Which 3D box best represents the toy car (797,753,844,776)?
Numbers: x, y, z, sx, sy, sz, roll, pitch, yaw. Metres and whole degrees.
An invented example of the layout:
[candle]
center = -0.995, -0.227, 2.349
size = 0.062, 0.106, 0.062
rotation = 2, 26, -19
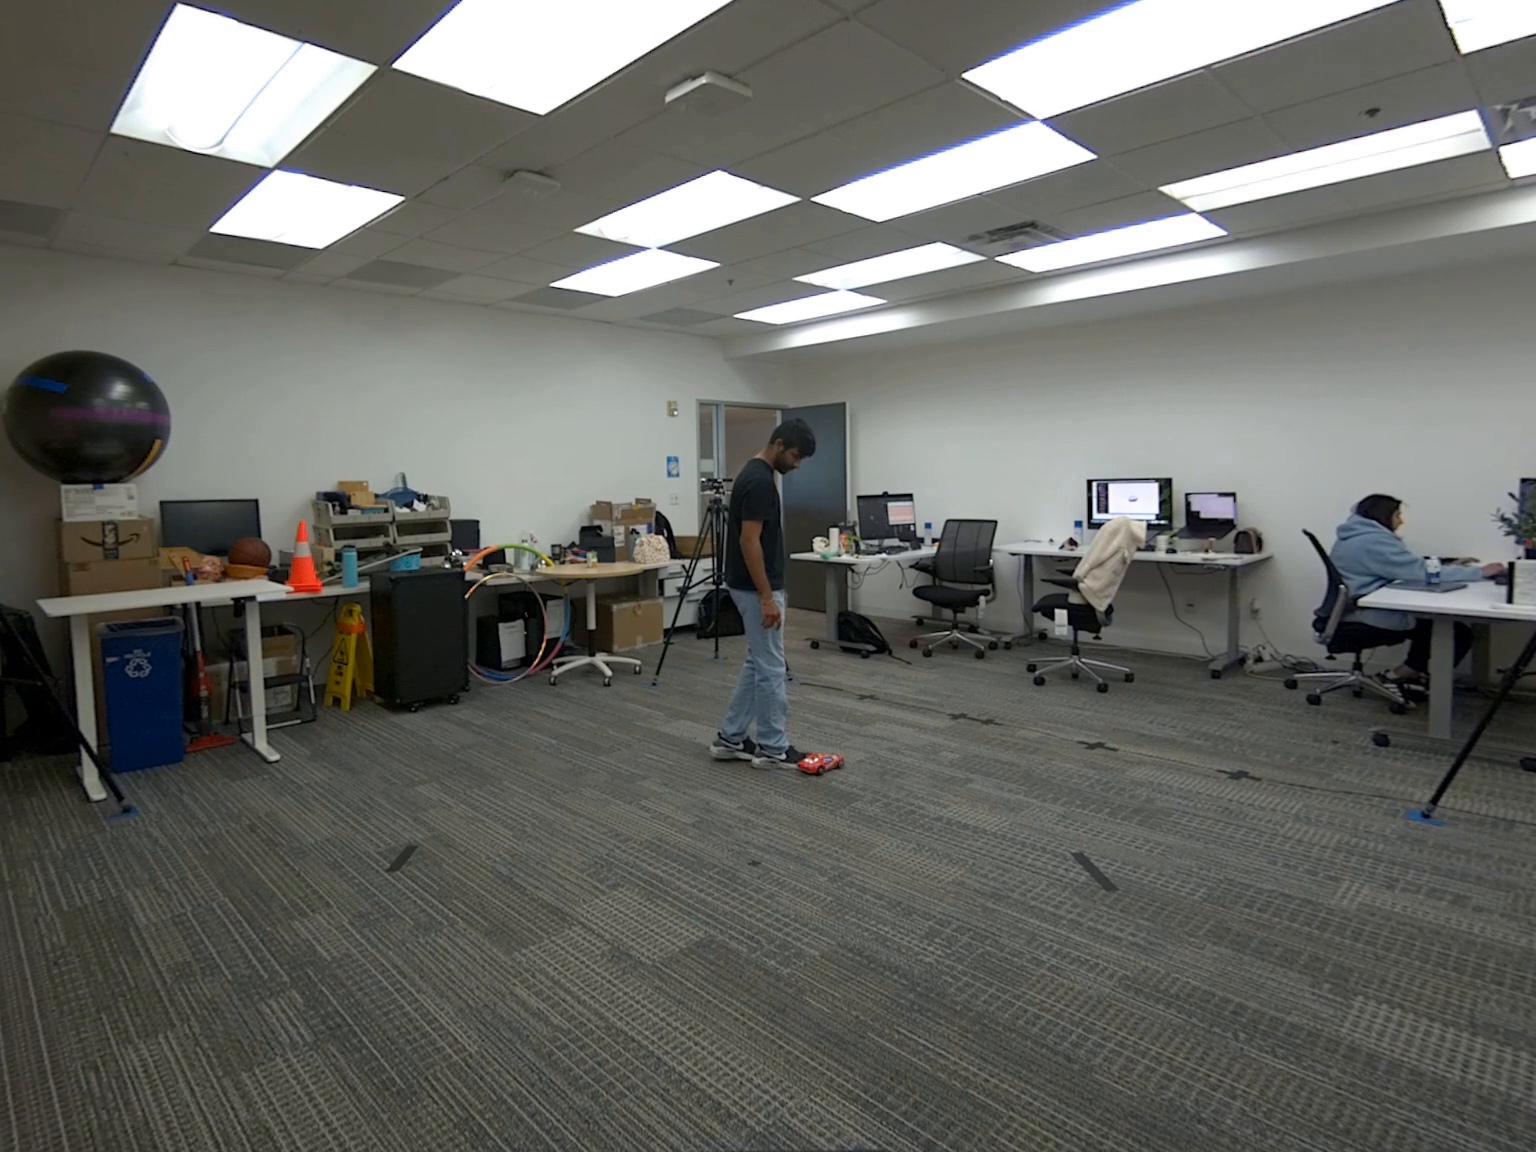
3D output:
[toy car]
center = 0.252, 0.901, 4.087
size = 0.246, 0.083, 0.134
rotation = 9, -2, -40
